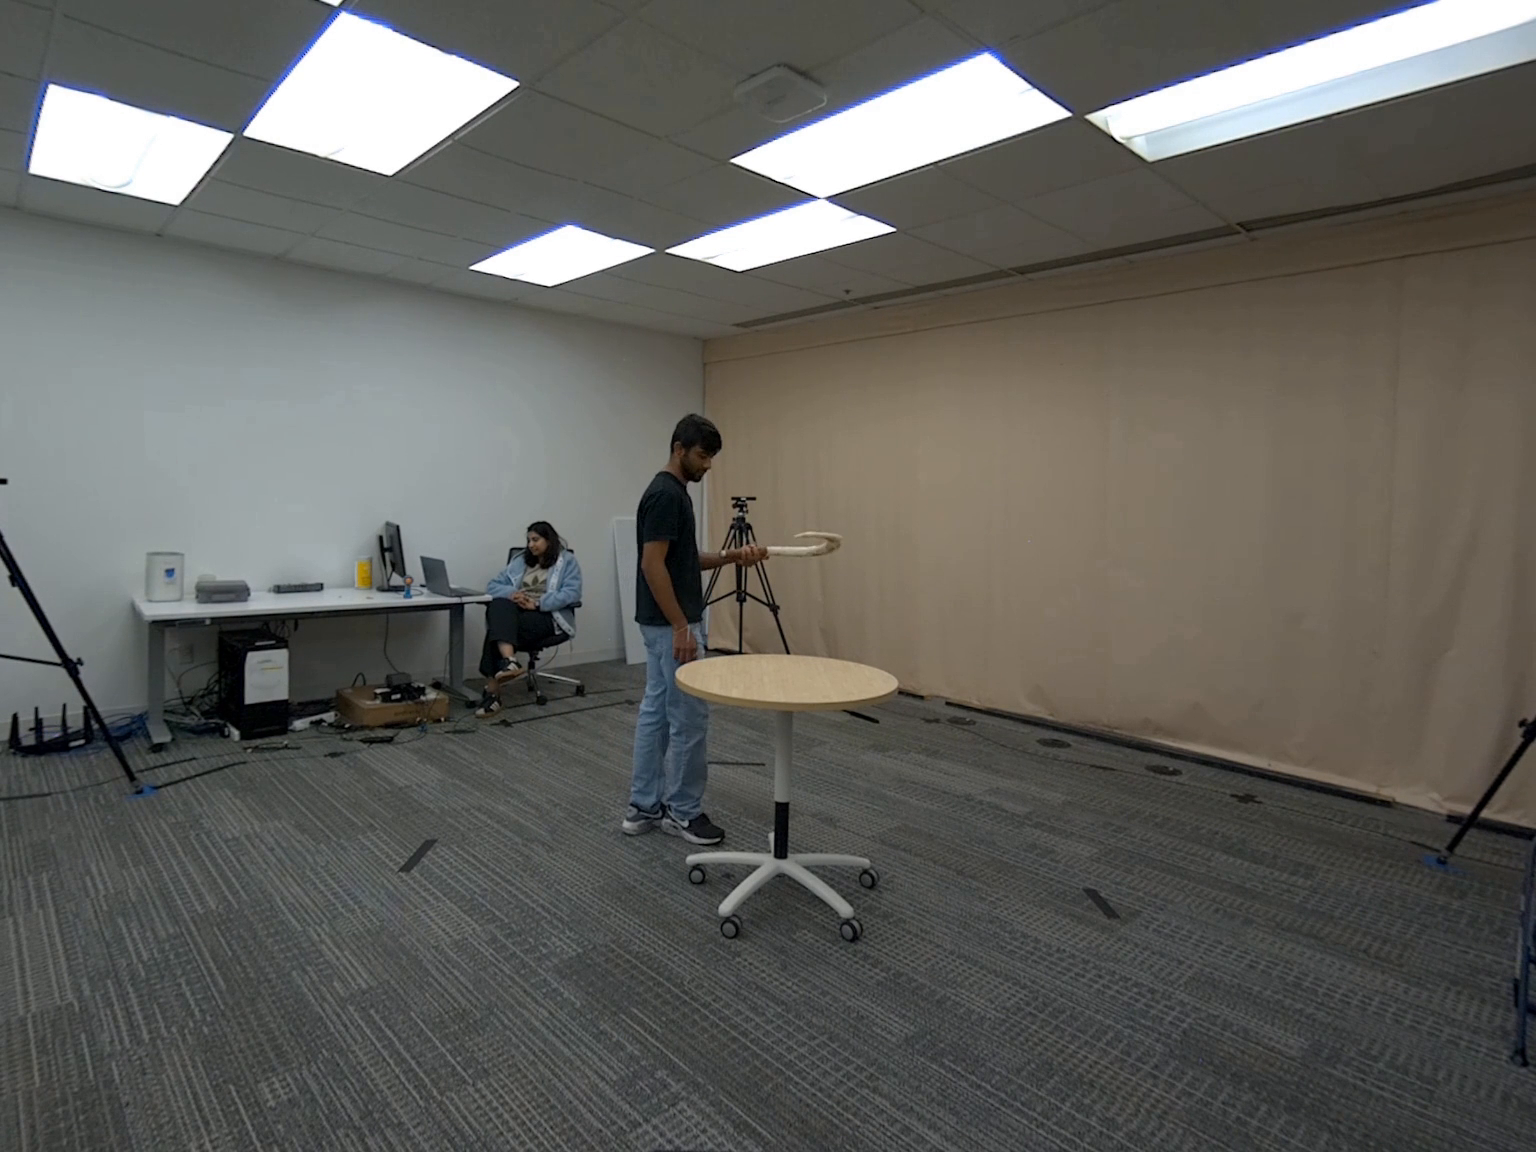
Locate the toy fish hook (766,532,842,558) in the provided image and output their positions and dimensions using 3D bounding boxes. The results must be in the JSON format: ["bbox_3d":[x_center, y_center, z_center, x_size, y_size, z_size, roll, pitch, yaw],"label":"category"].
[{"bbox_3d":[0.039,-0.127,3.451,0.507,0.049,0.220,-5,-26,1],"label":"toy fish hook"}]
